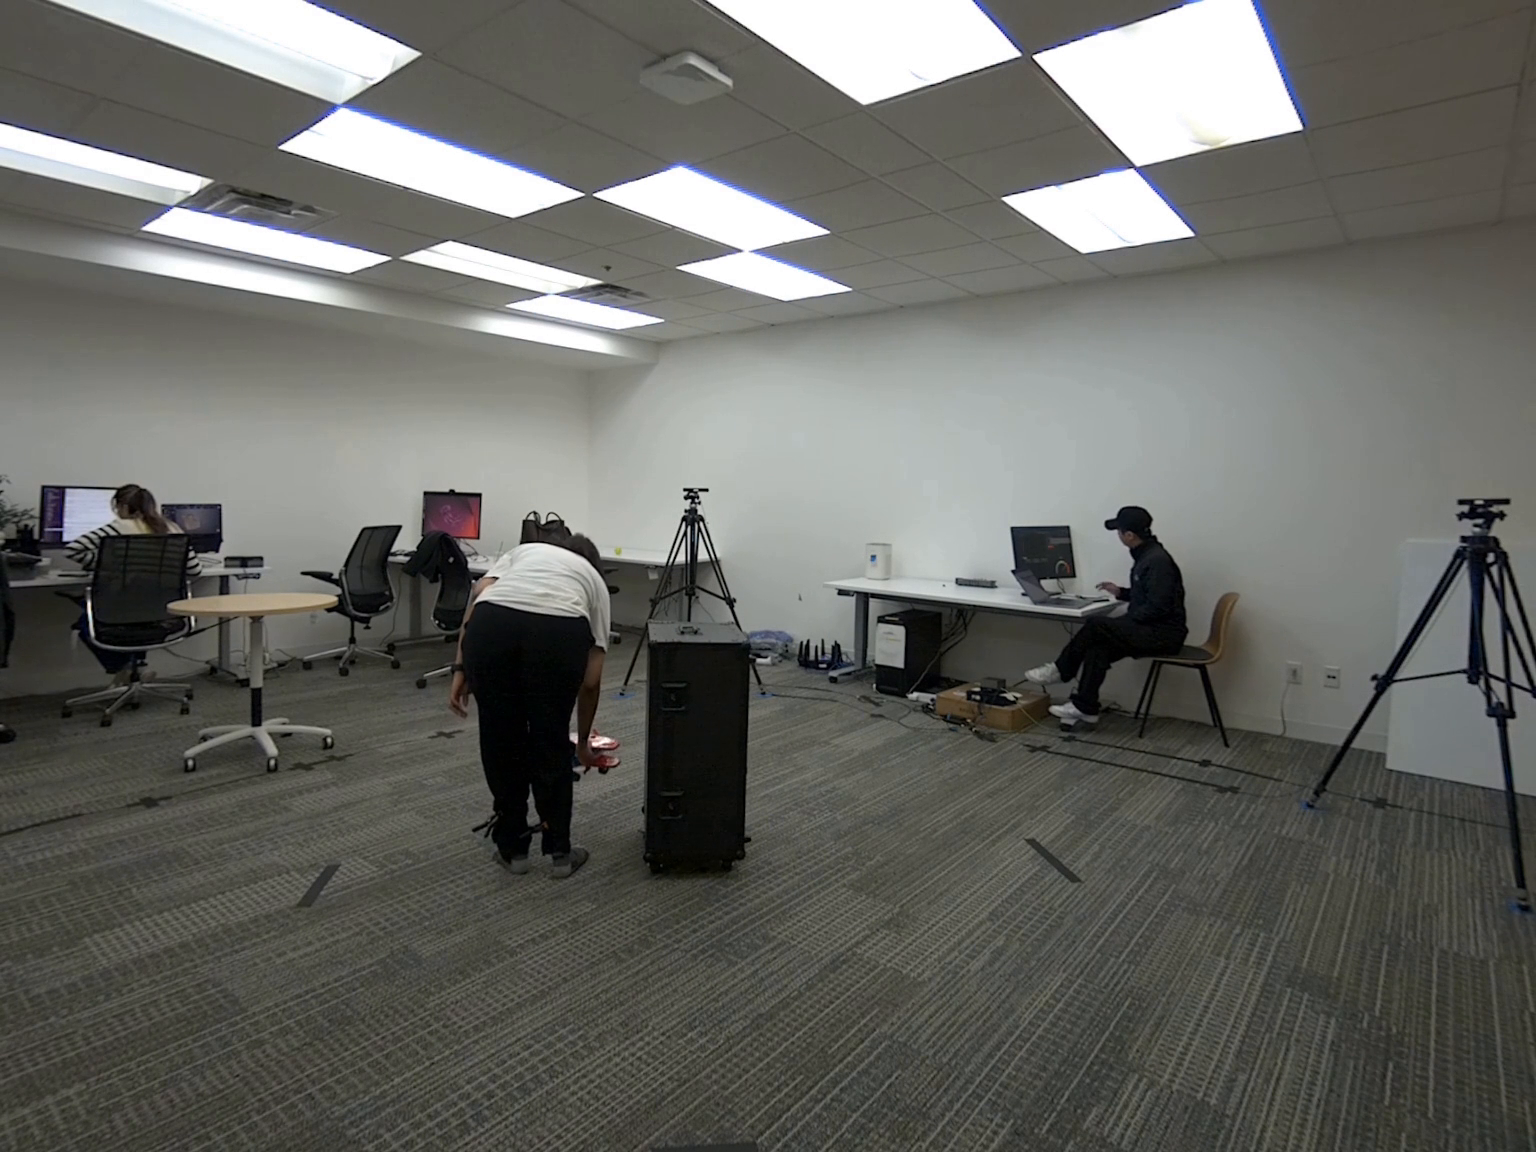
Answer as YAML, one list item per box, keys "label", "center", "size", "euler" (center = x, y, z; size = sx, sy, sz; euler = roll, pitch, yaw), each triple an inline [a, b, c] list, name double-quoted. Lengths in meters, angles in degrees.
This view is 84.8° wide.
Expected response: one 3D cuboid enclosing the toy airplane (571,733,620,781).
- label: "toy airplane"
  center: [-0.736, 0.737, 3.454]
  size: [0.249, 0.156, 0.261]
  euler: [4, 0, -6]
